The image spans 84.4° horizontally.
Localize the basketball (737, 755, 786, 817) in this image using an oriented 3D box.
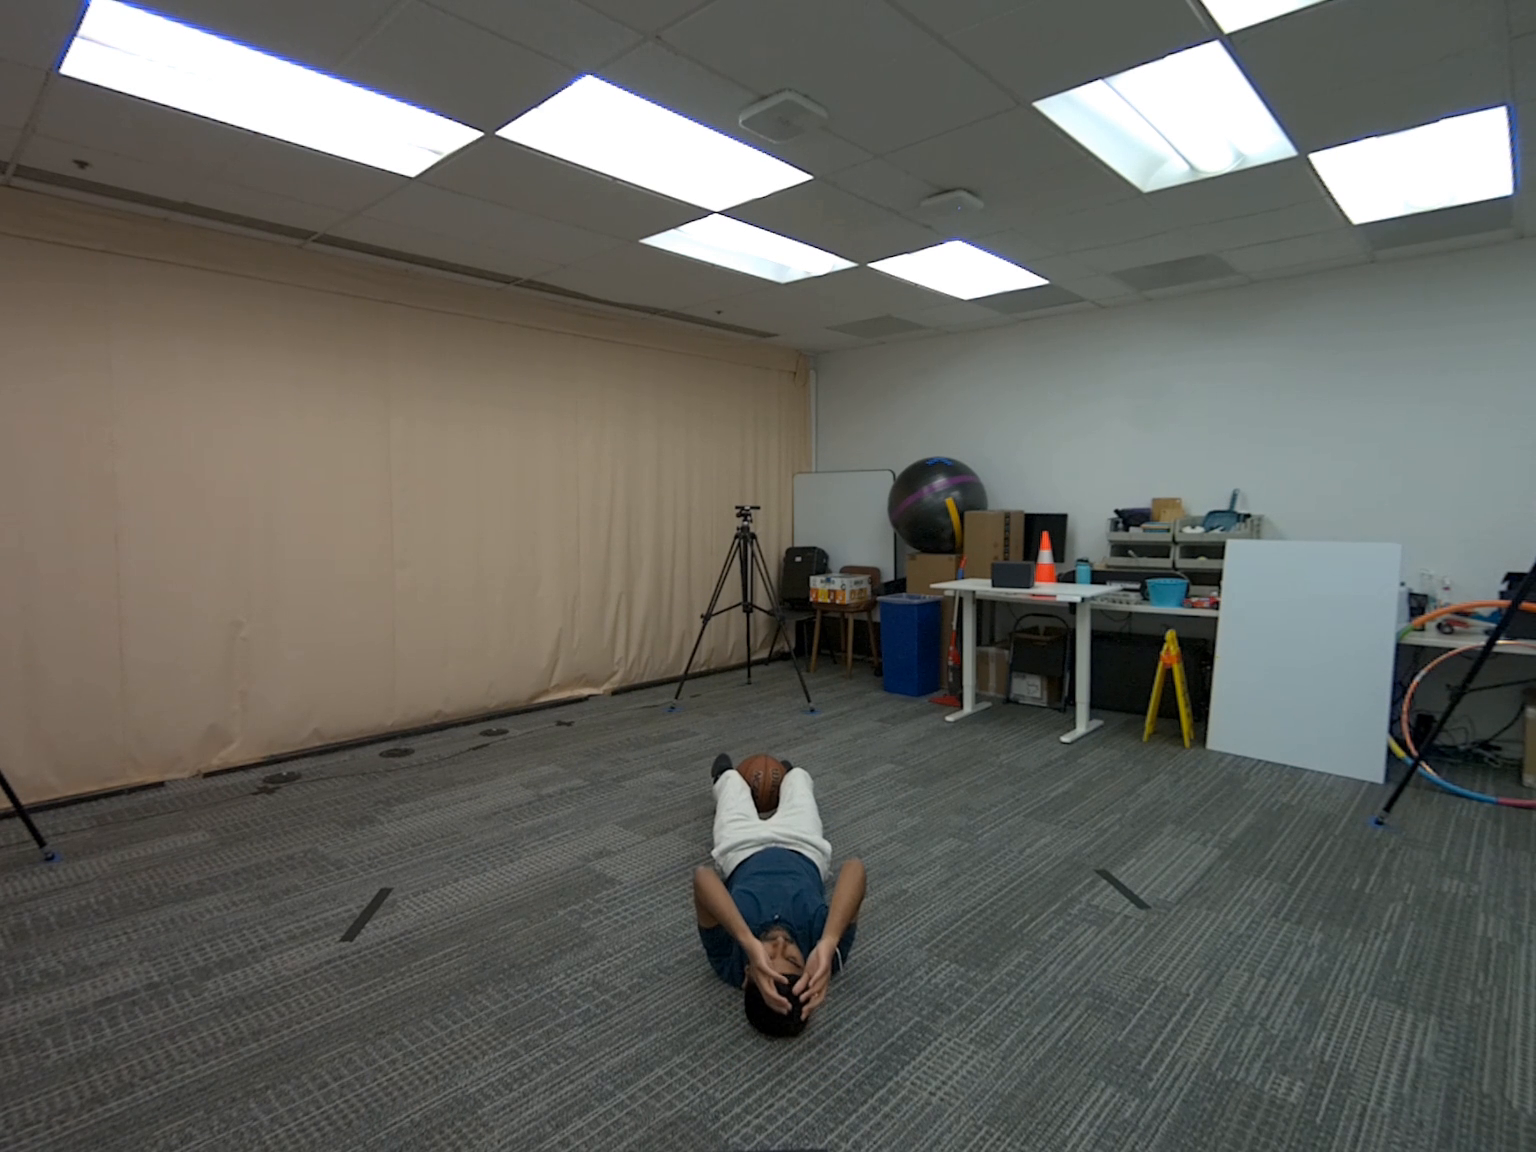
[{"bbox_3d":[-0.035,0.869,3.567,0.236,0.235,0.237,0,4,-2],"label":"basketball"}]
